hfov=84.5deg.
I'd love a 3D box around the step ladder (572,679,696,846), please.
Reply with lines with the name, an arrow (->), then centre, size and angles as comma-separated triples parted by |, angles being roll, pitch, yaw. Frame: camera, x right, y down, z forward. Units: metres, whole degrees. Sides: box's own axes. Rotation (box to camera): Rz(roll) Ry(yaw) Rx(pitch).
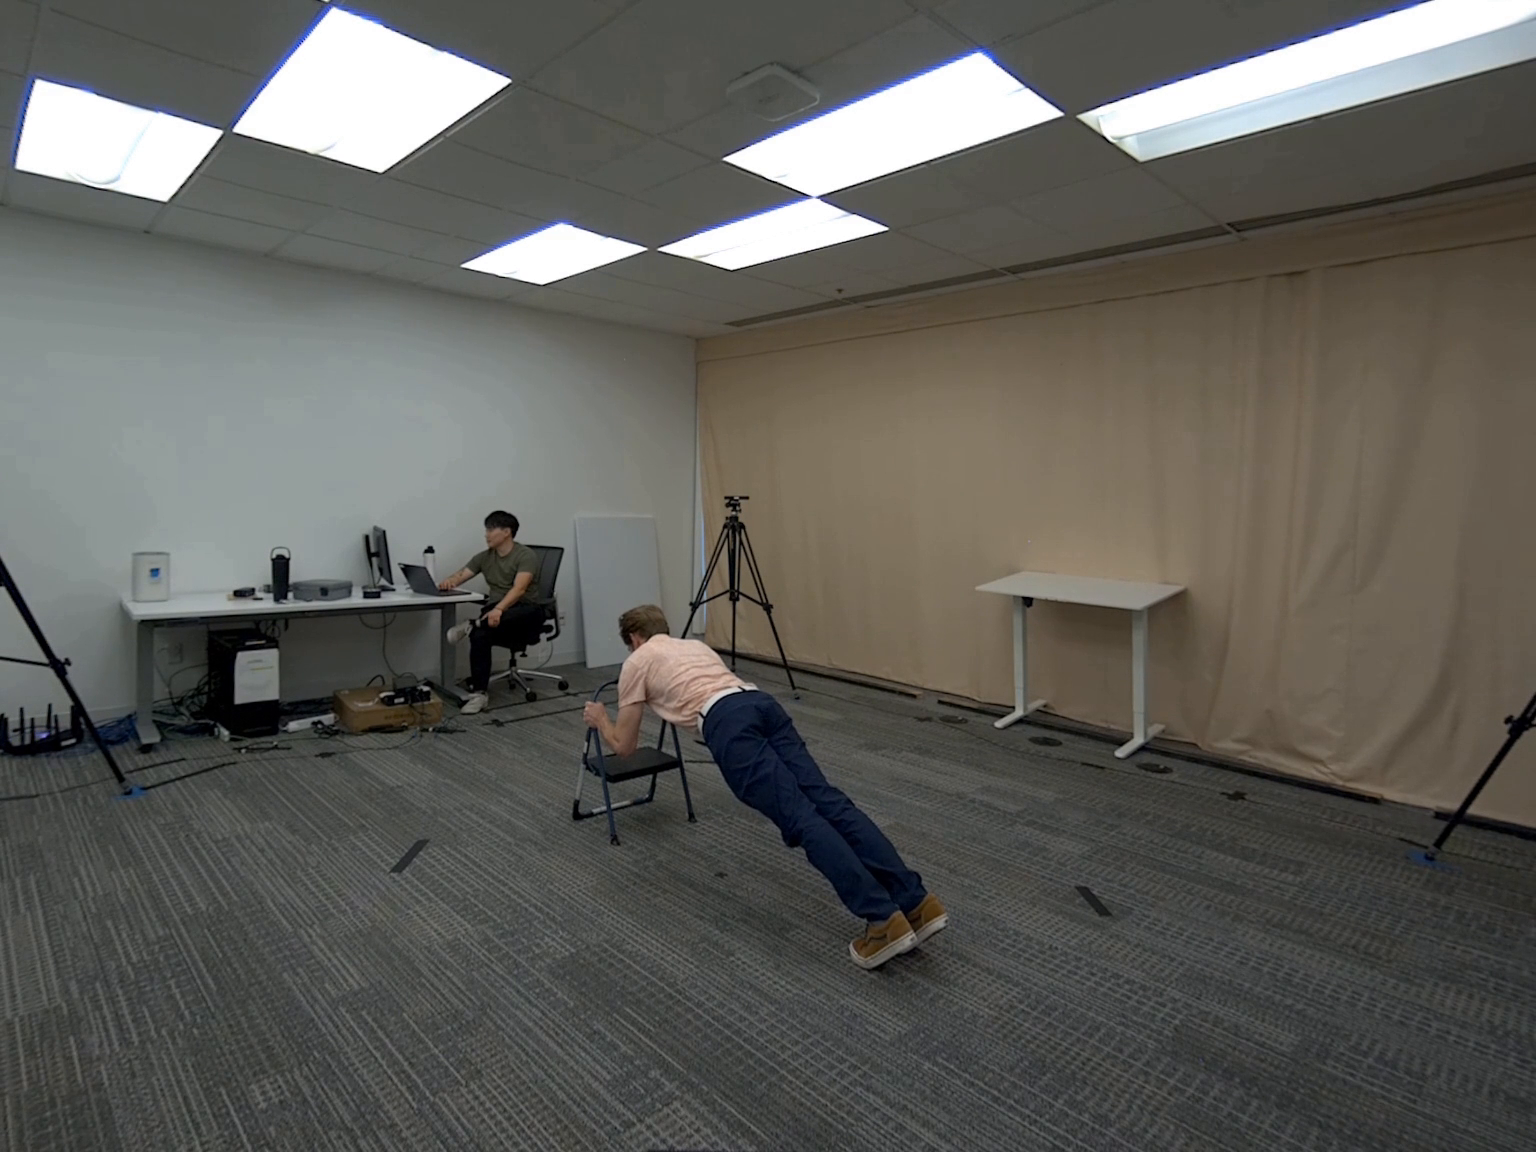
step ladder -> -0.575, 0.751, 3.596 | 0.421, 0.605, 0.358 | -2, 4, -43
